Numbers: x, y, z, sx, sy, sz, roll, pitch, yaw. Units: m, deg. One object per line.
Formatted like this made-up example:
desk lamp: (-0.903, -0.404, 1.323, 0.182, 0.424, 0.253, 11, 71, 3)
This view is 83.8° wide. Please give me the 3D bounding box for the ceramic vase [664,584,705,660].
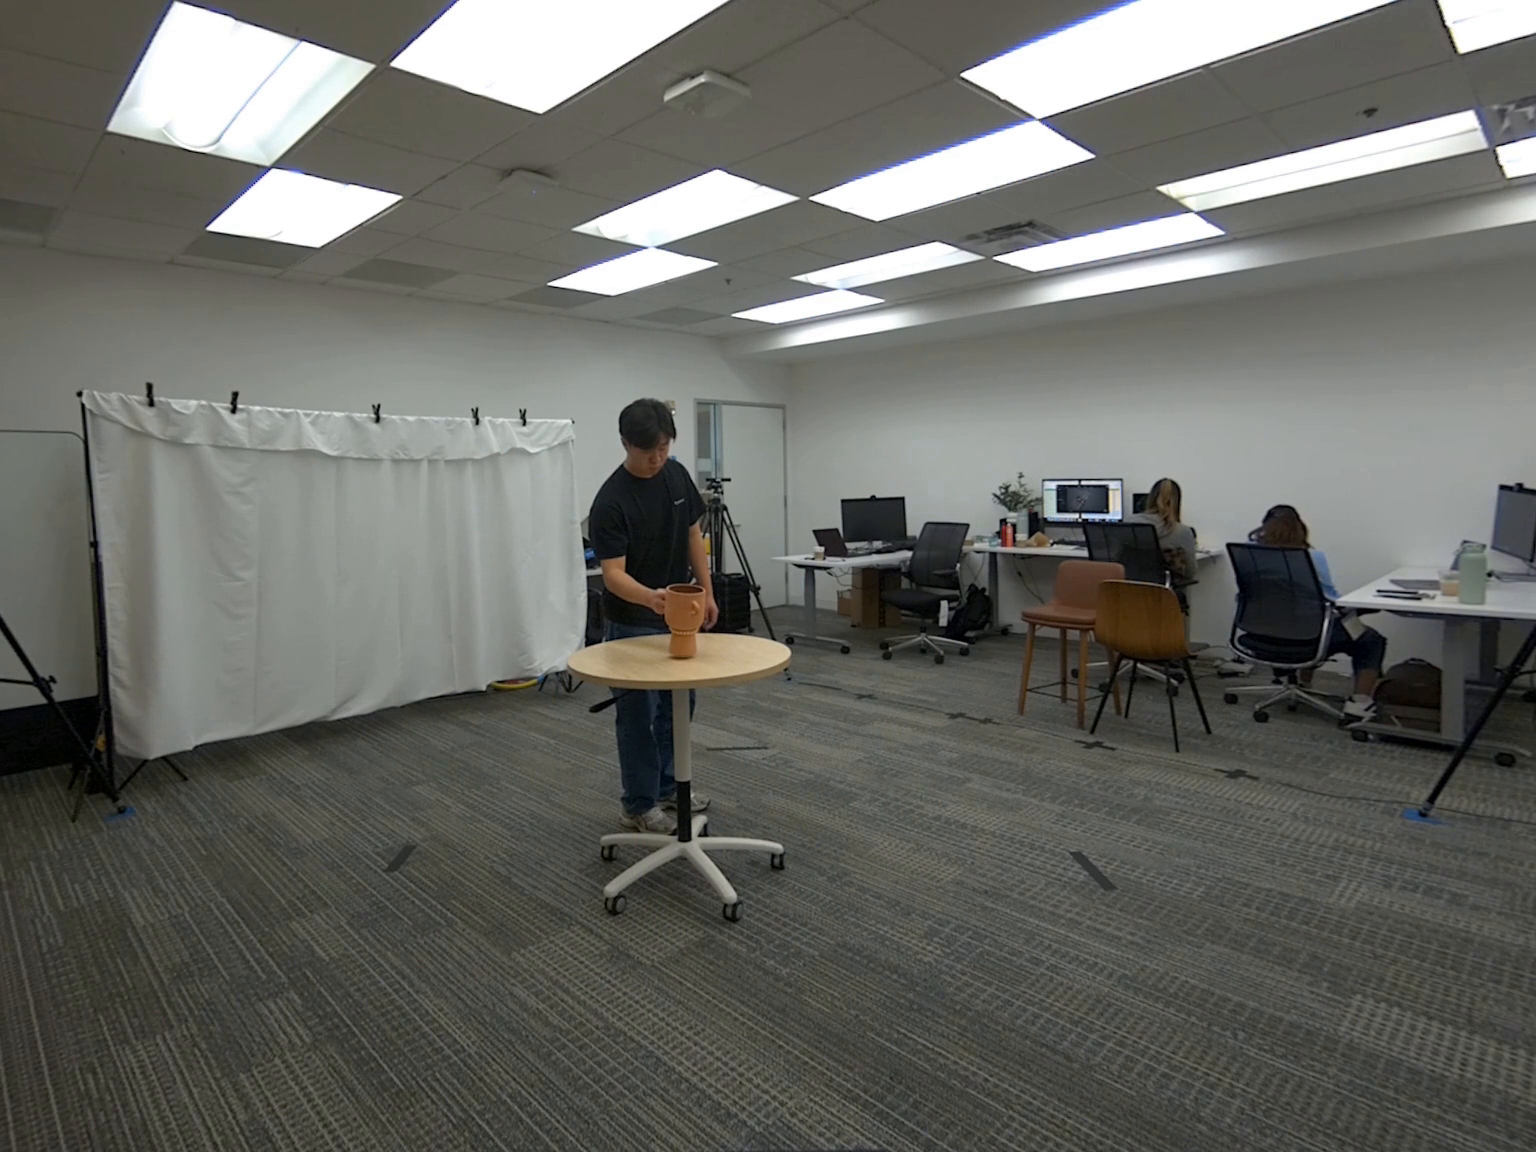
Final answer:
ceramic vase: (-0.282, 0.155, 2.871, 0.136, 0.218, 0.158, 5, 11, 10)
